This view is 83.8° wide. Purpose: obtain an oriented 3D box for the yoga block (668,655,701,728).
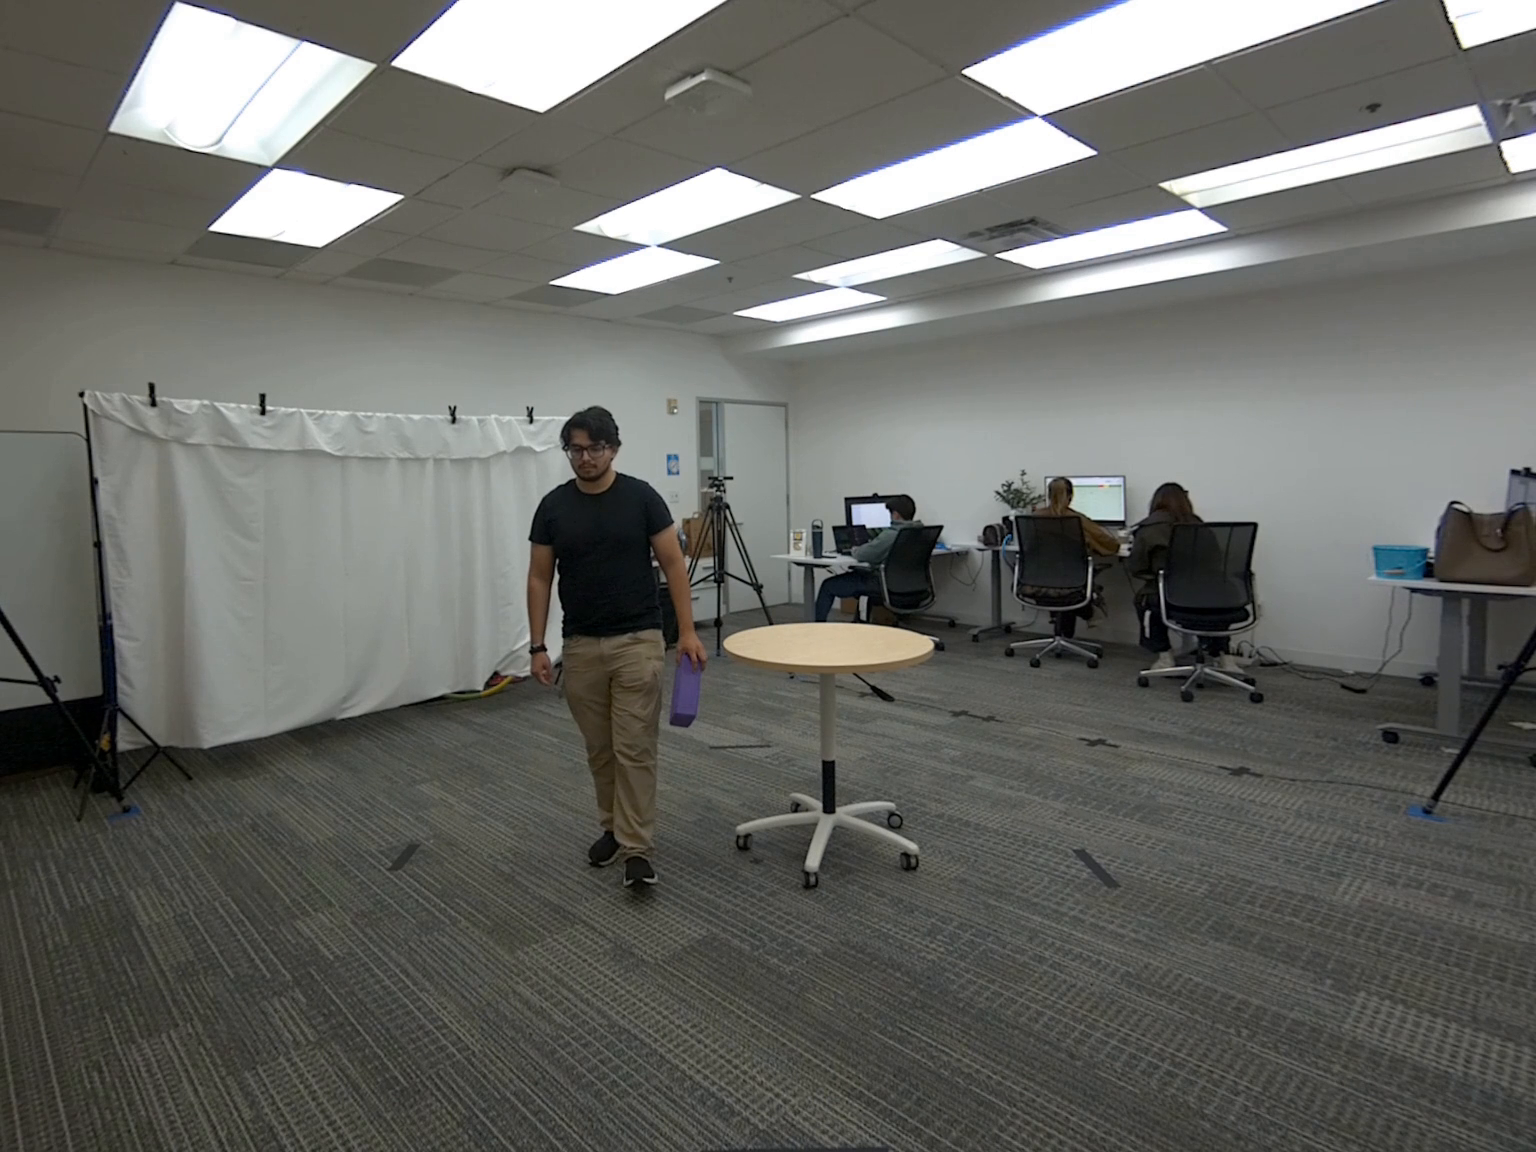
[{"bbox_3d":[-0.286,0.398,2.979,0.076,0.234,0.147,10,-28,-10],"label":"yoga block"}]
